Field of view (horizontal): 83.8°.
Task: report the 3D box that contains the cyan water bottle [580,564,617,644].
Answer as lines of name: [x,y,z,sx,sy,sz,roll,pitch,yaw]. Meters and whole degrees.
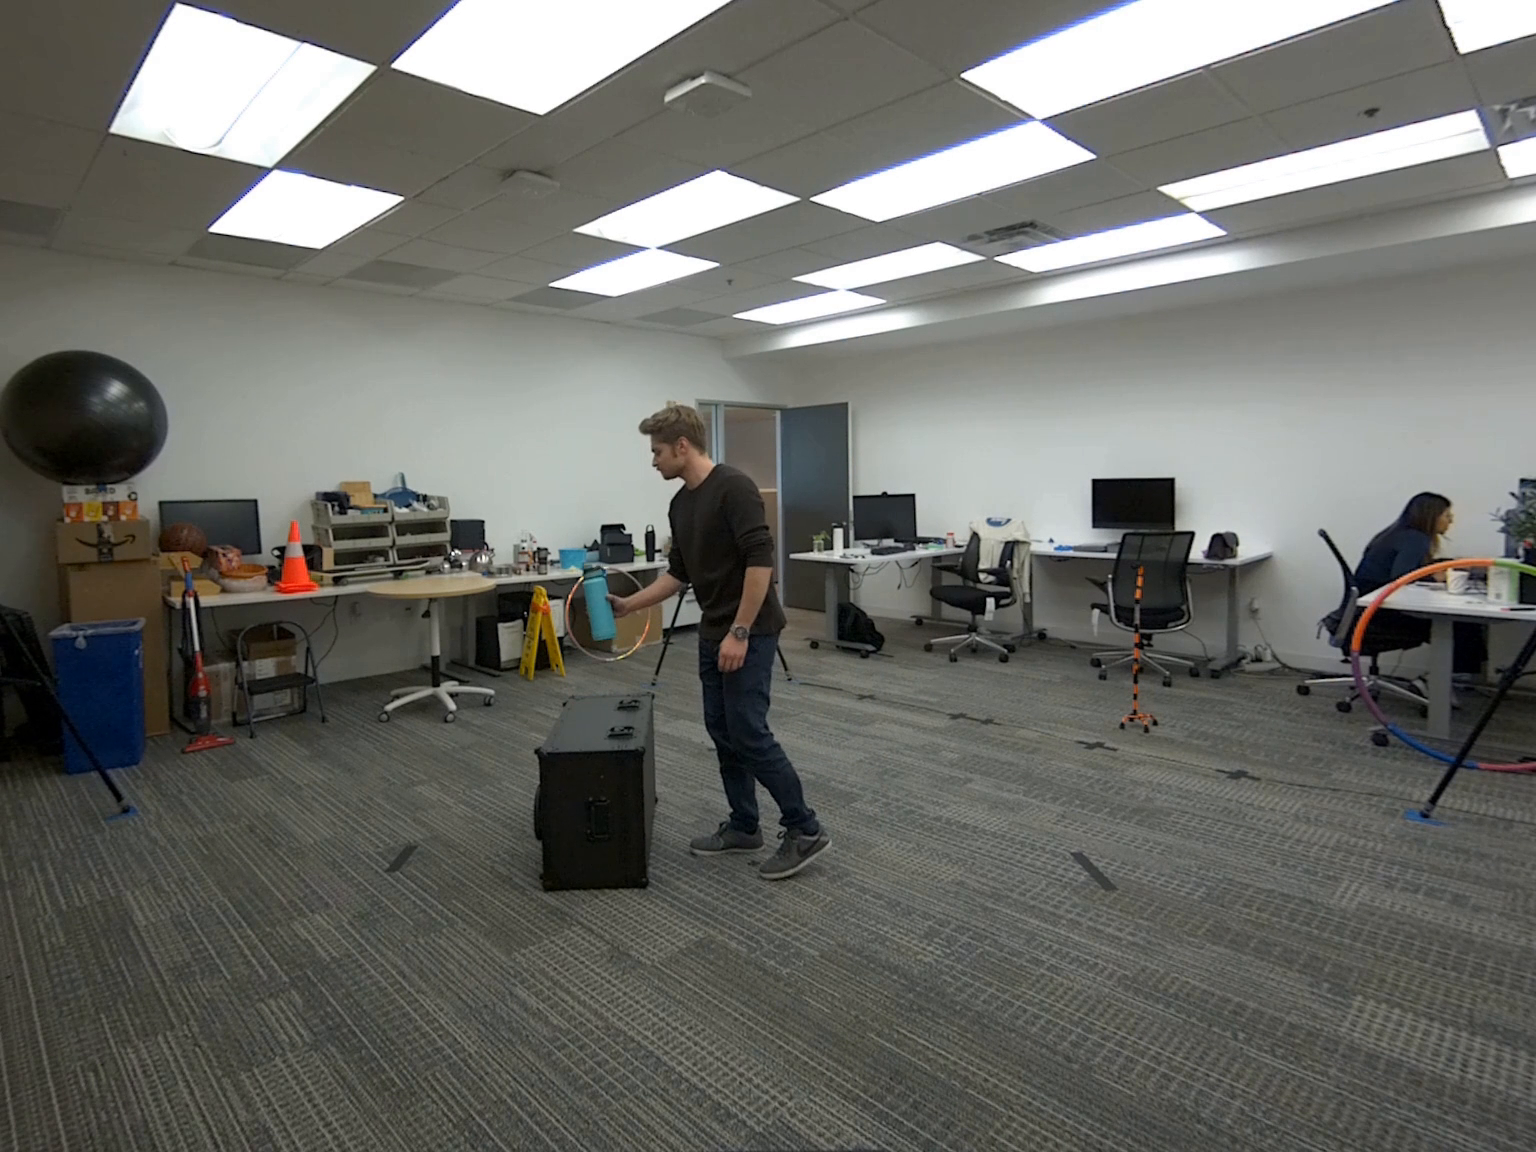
cyan water bottle: [-0.627,0.099,3.187,0.092,0.283,0.092,-10,0,-2]
